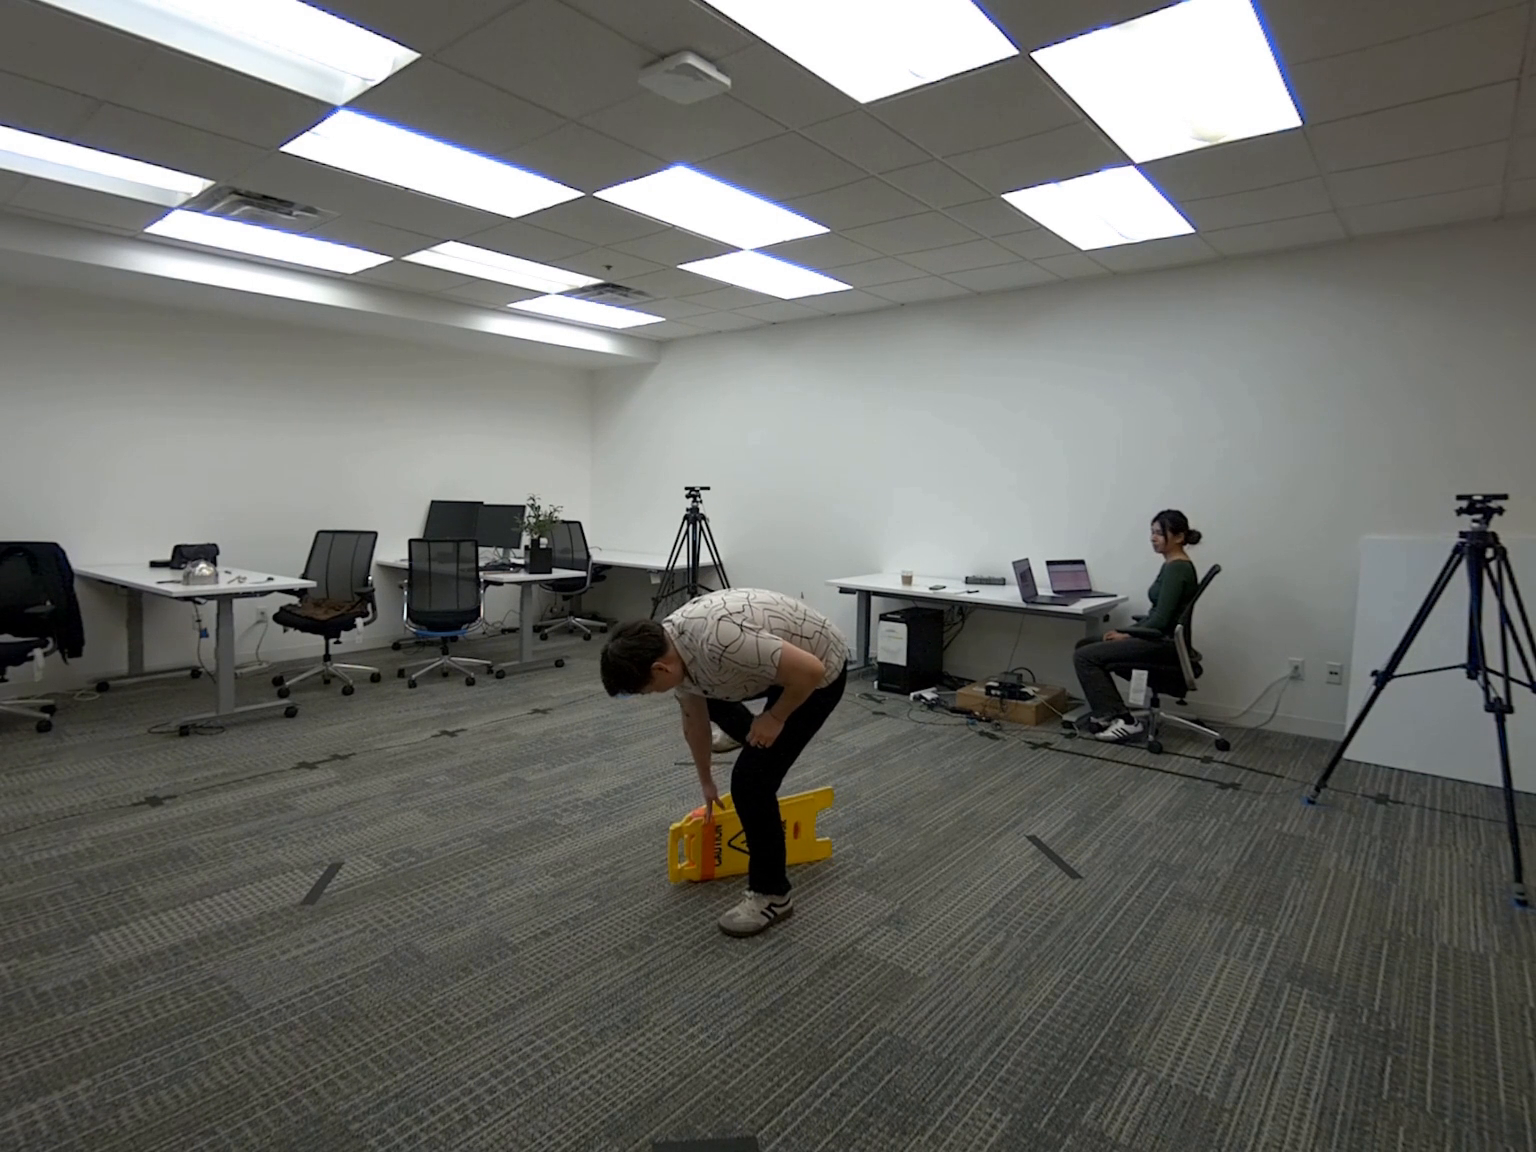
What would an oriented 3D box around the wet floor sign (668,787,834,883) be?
[{"bbox_3d":[-0.106,0.936,3.127,0.628,0.281,0.299,-6,8,-39],"label":"wet floor sign"}]
